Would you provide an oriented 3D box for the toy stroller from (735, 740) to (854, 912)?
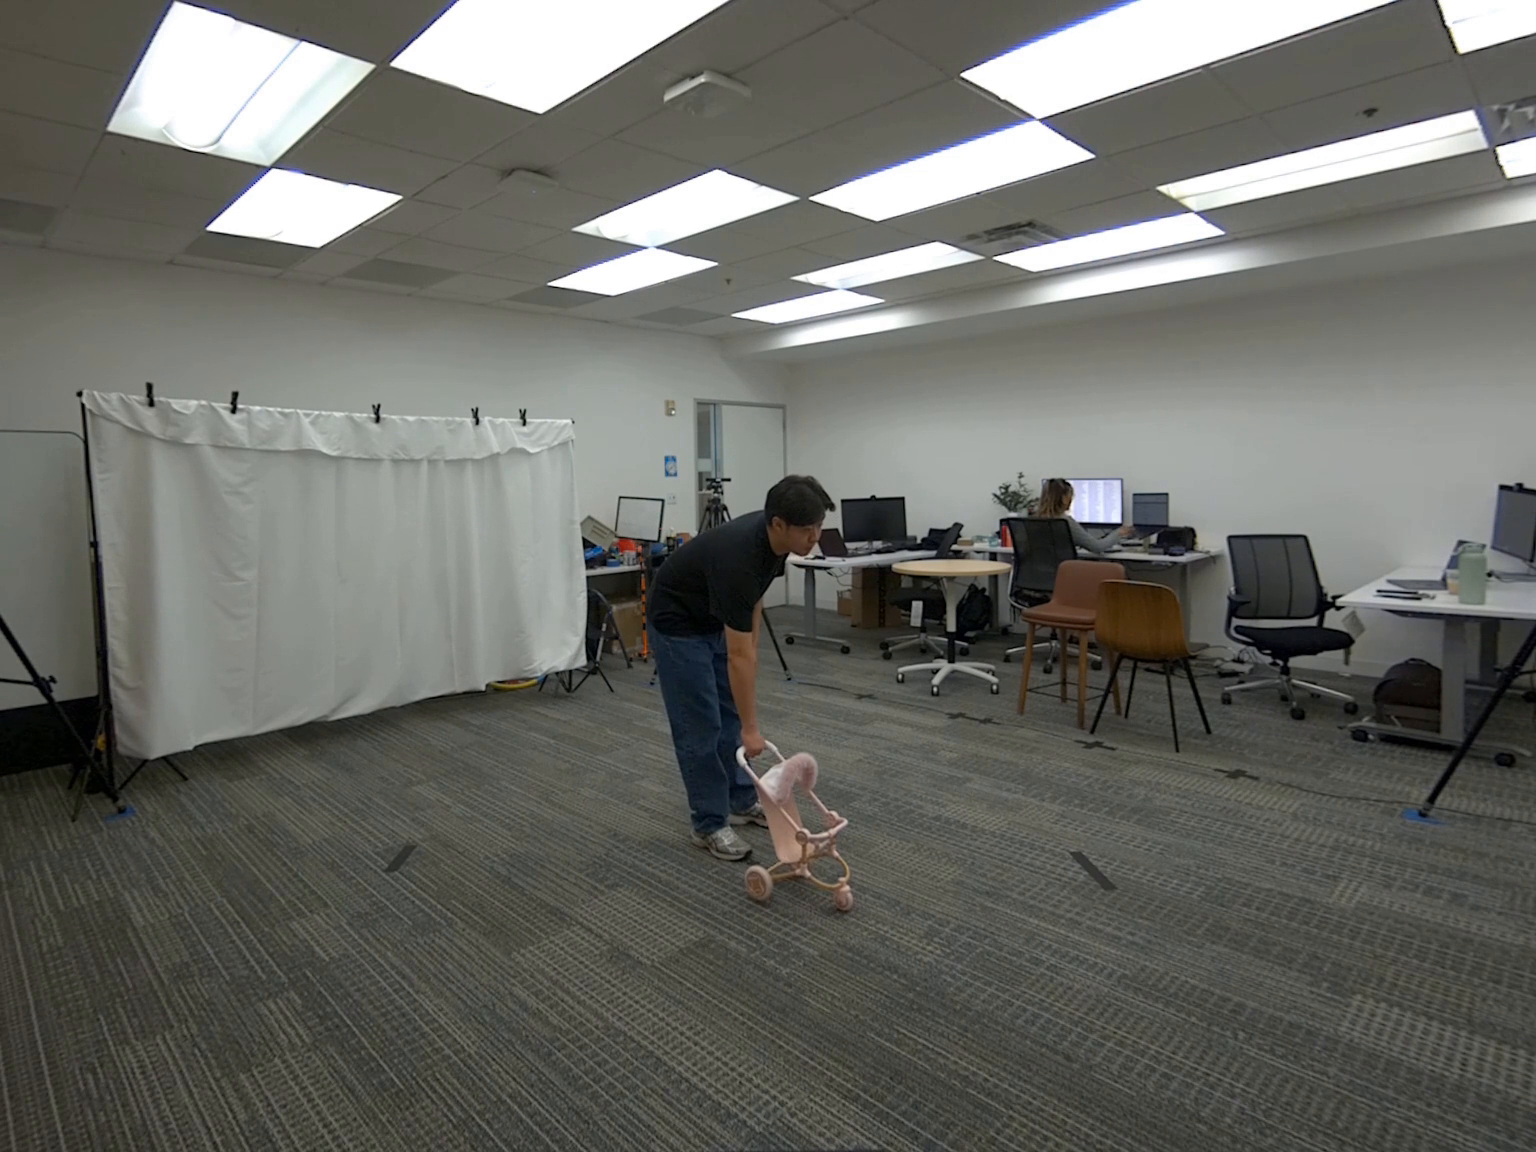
[{"bbox_3d":[0.104,0.829,2.852,0.349,0.537,0.274,-11,-5,39],"label":"toy stroller"}]
